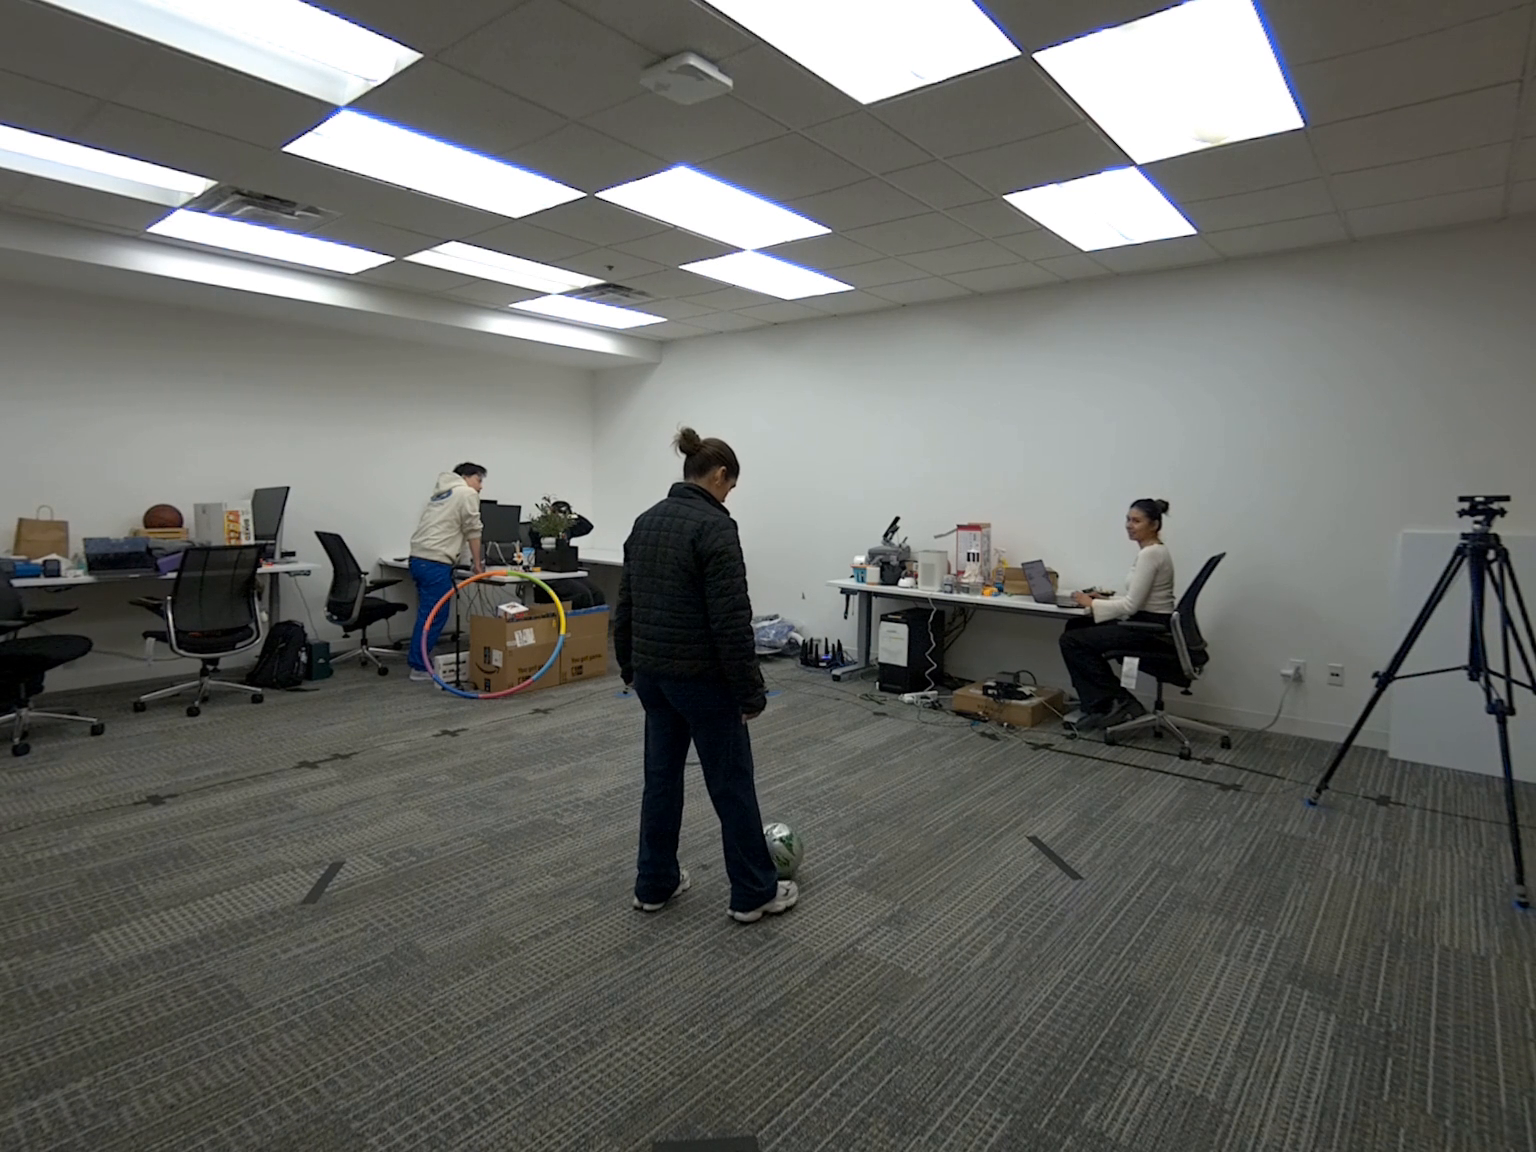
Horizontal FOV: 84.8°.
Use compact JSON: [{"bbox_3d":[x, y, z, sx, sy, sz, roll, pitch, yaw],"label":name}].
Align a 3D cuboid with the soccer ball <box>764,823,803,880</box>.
[{"bbox_3d":[0.026,0.977,3.052,0.187,0.187,0.188,1,4,-2],"label":"soccer ball"}]
